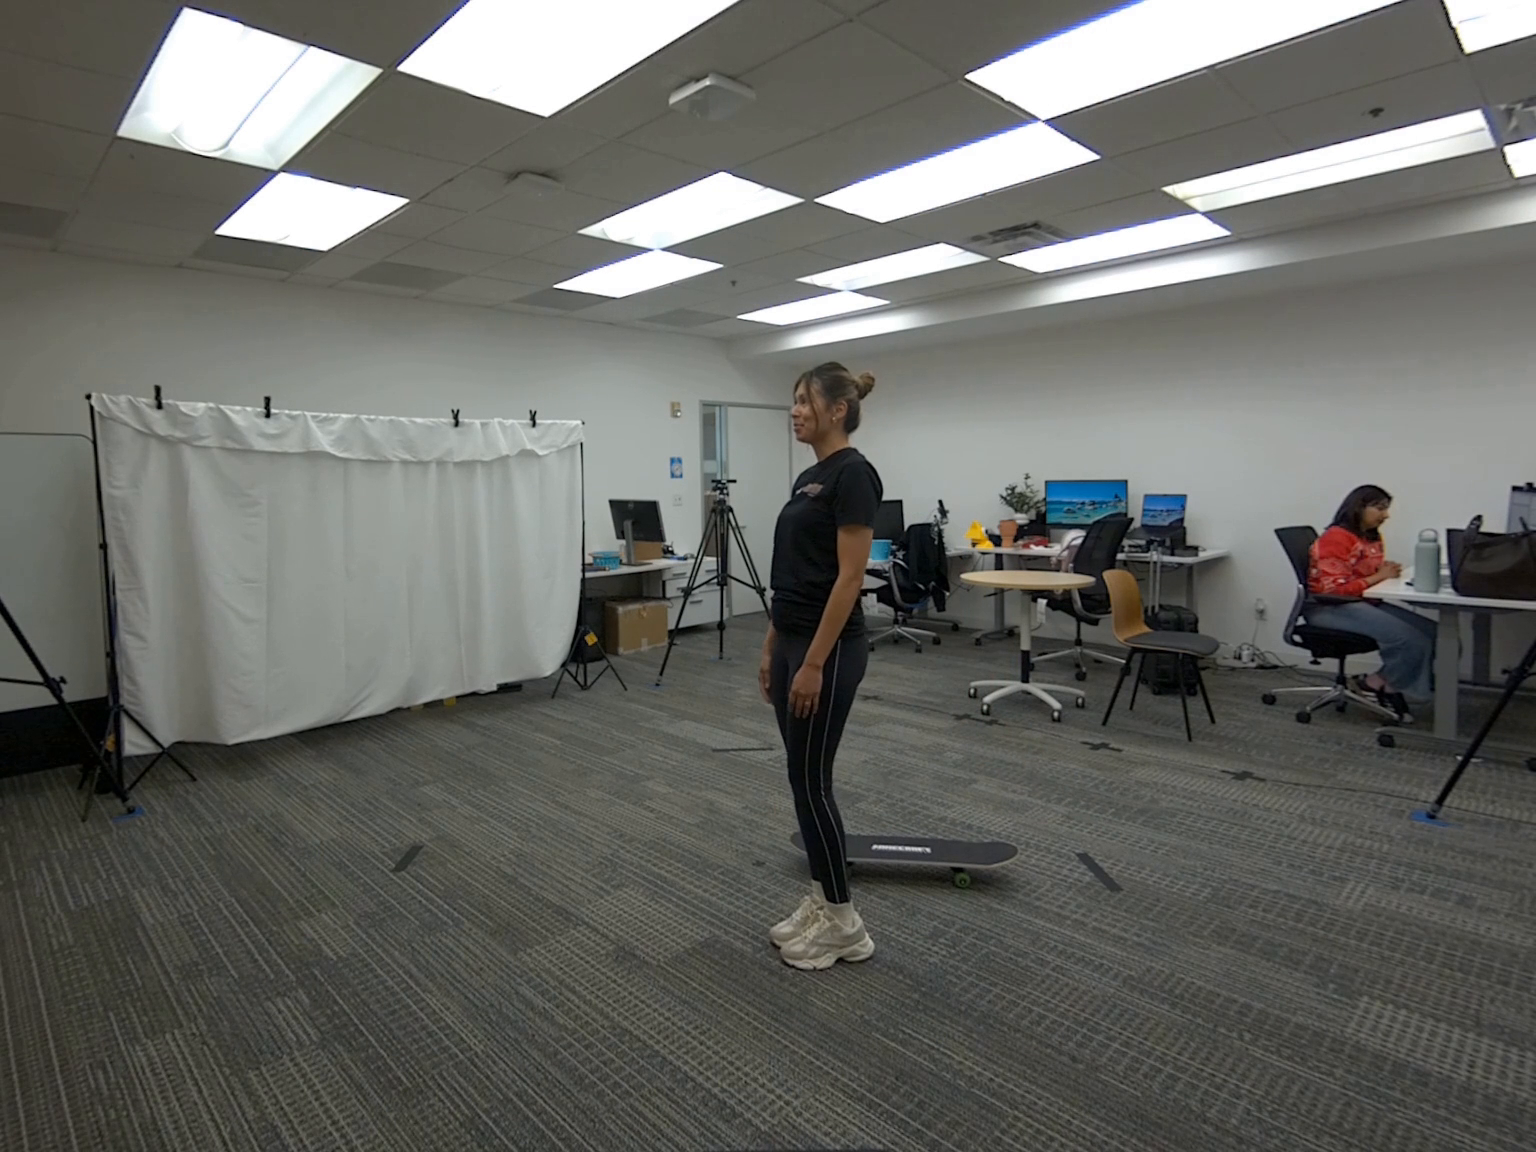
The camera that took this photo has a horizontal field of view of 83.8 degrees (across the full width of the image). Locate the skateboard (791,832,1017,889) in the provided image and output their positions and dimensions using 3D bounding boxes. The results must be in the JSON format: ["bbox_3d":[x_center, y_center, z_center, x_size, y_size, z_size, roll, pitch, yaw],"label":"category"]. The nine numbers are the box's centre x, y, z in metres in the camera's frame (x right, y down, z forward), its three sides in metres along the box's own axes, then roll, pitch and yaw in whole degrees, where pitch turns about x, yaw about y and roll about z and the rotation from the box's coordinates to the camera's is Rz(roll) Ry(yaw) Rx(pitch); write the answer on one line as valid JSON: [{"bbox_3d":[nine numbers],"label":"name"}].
[{"bbox_3d":[0.473,0.992,3.007,0.793,0.110,0.192,0,6,10],"label":"skateboard"}]
